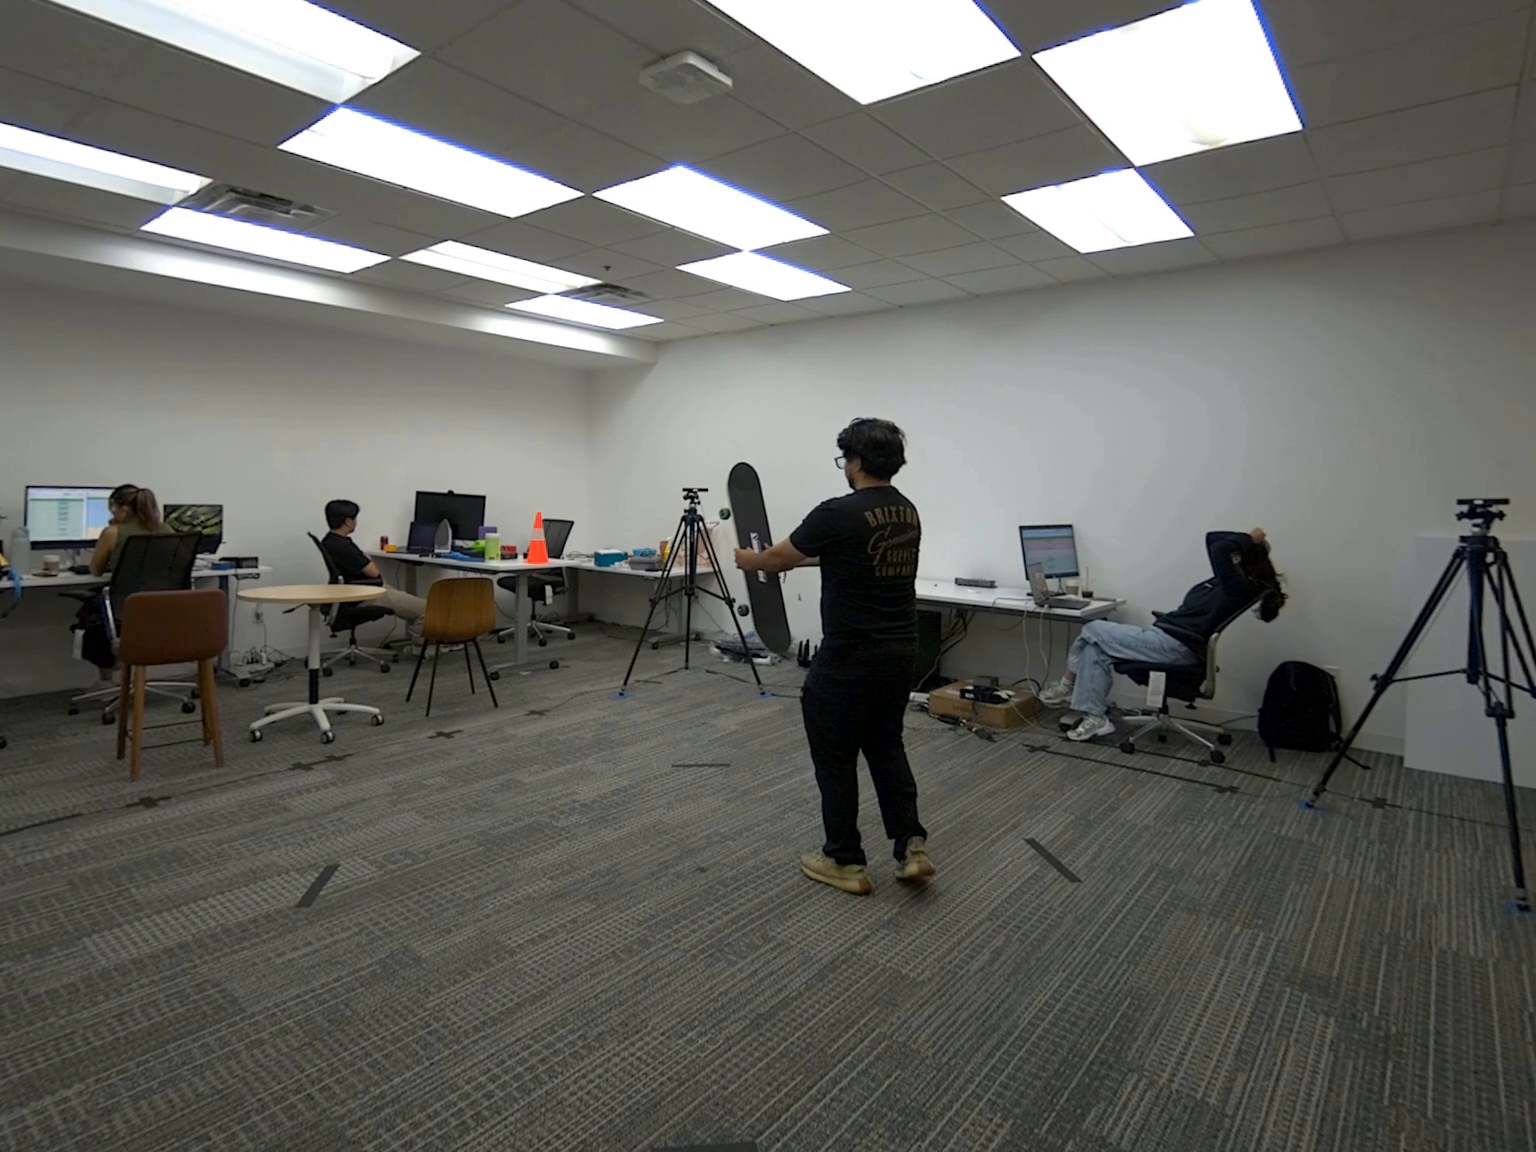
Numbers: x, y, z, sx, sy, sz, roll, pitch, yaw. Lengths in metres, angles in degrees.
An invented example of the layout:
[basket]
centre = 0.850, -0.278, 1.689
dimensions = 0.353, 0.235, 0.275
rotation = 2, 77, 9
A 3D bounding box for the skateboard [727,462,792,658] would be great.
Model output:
[skateboard]
centre = -0.062, -0.069, 3.432
dimensions = 0.187, 0.795, 0.112
rotation = -2, -14, -43
